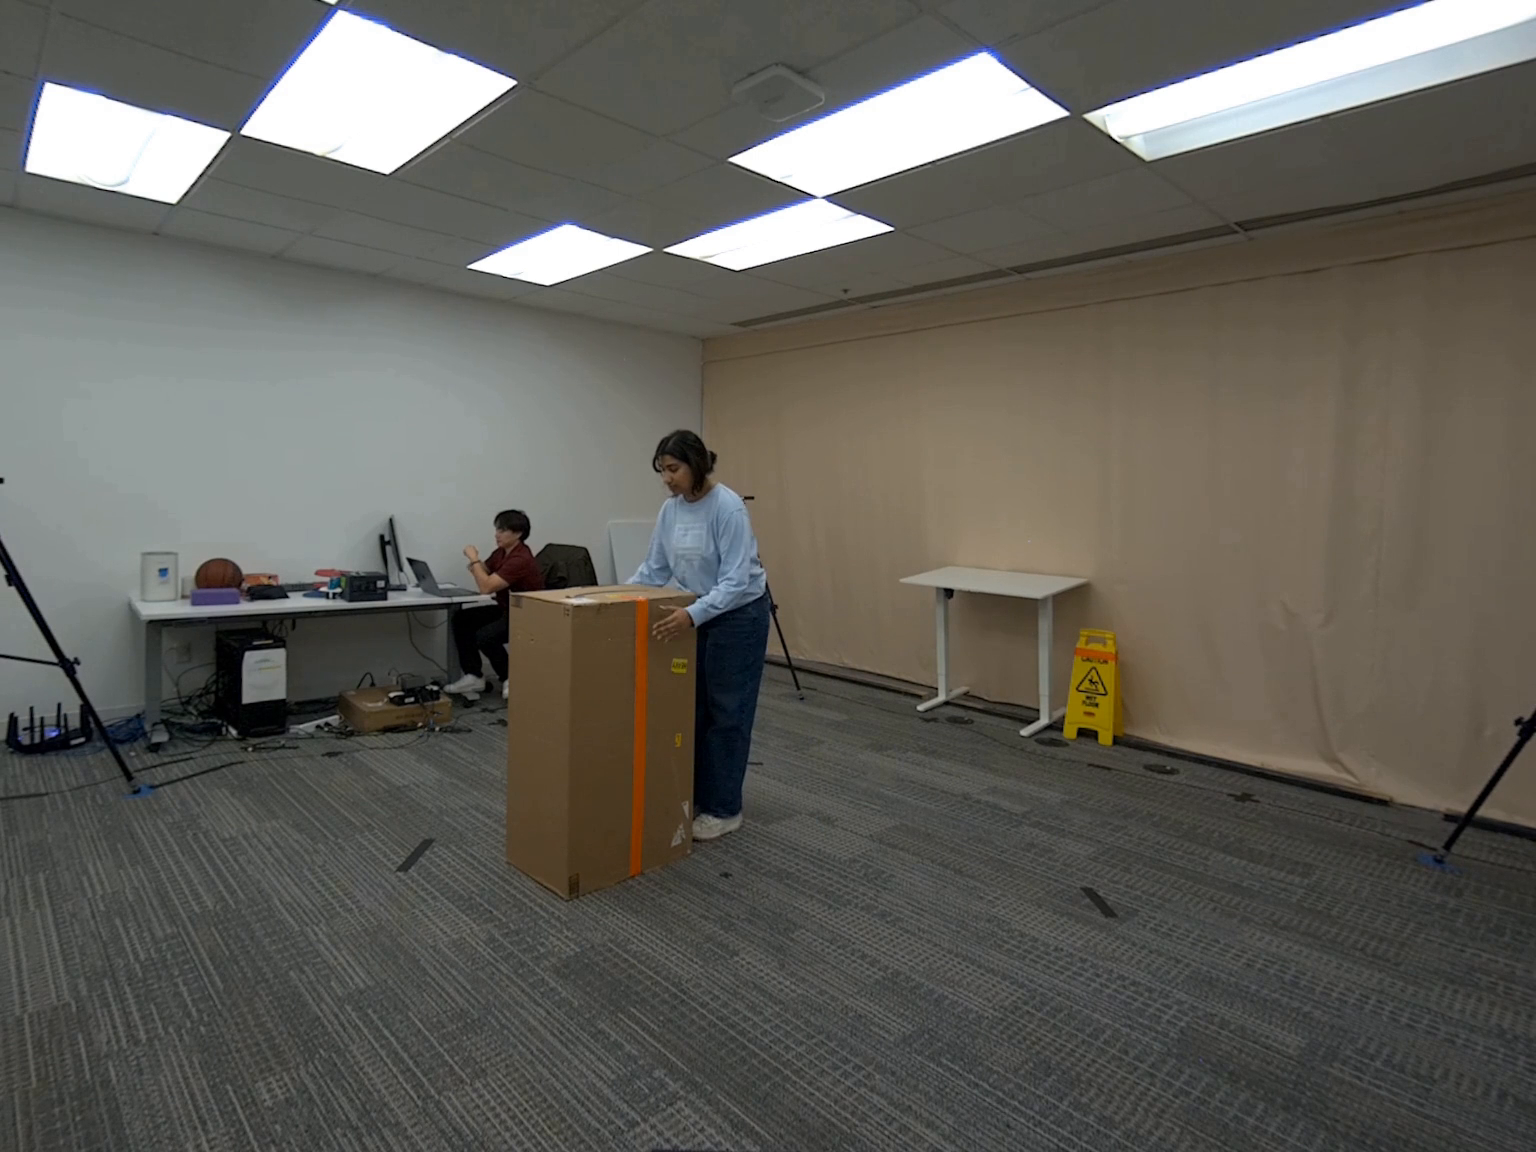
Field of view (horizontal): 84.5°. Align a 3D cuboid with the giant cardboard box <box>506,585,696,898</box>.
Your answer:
[{"bbox_3d":[-0.641,0.577,3.192,0.570,1.024,0.458,-2,6,-45],"label":"giant cardboard box"}]
